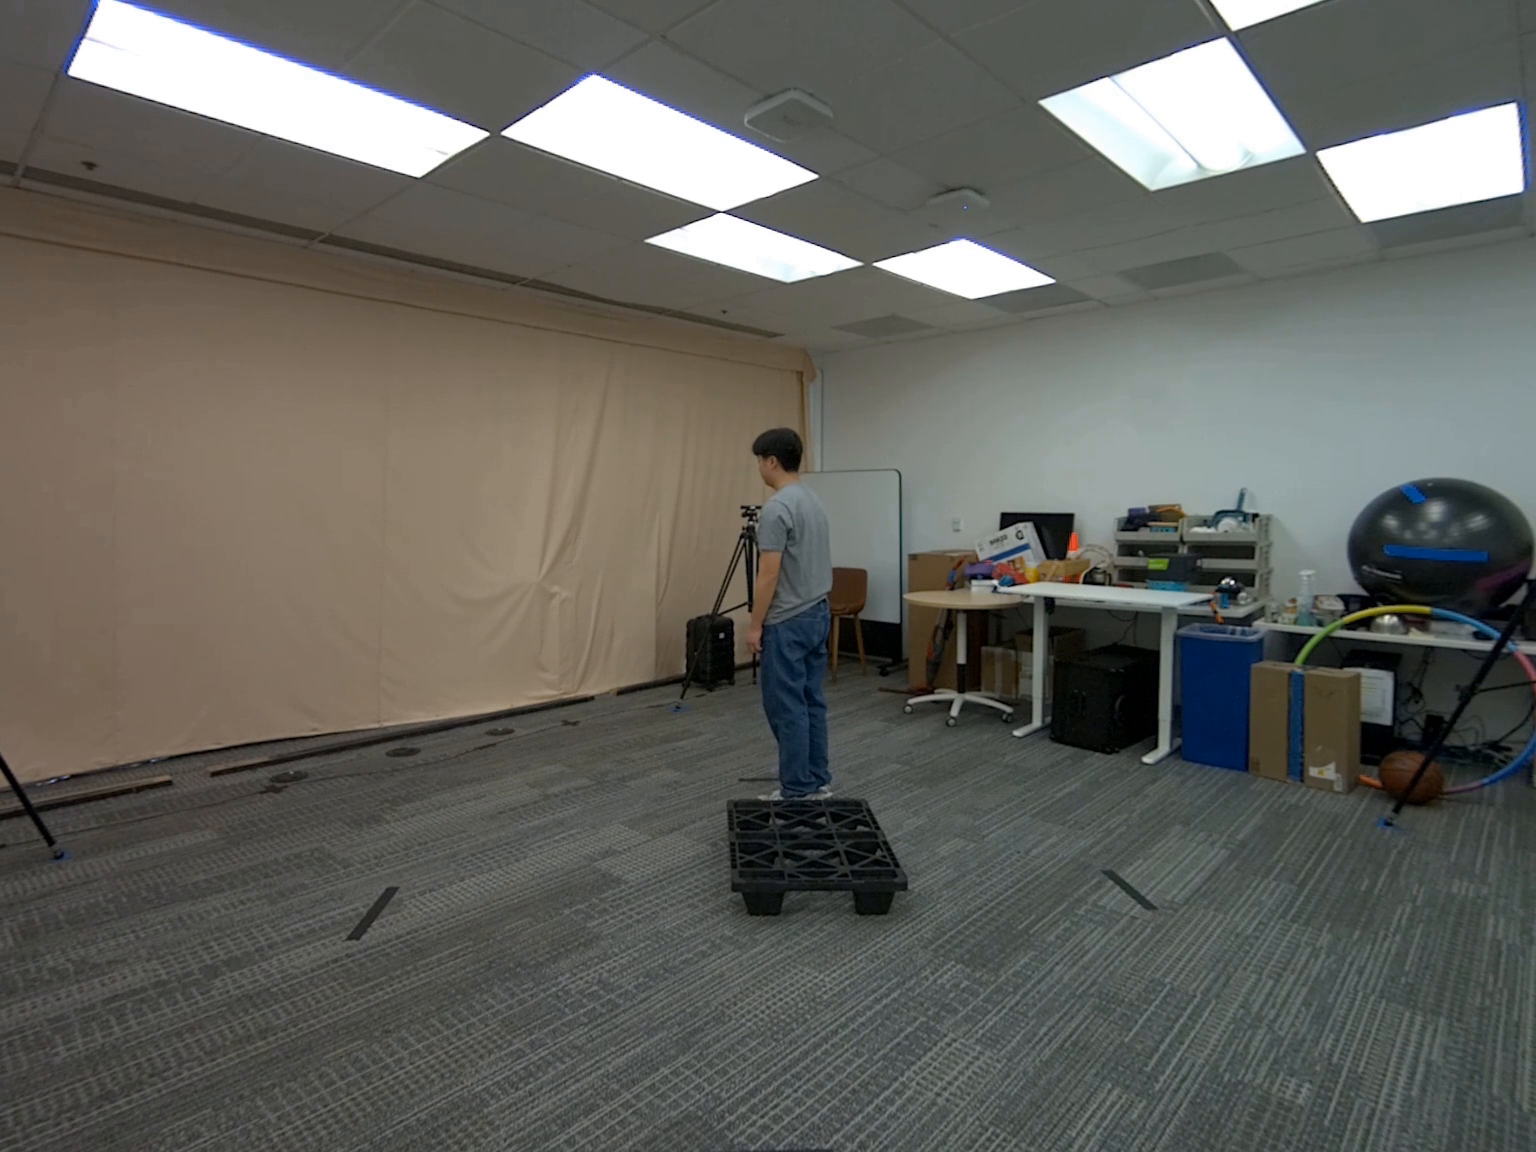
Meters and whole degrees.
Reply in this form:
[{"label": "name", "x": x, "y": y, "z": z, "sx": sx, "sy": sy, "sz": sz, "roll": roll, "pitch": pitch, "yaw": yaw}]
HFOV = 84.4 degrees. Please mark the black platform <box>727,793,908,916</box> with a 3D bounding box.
[{"label": "black platform", "x": 0.146, "y": 1.054, "z": 3.216, "sx": 0.604, "sy": 0.143, "sz": 0.809, "roll": -1, "pitch": 5, "yaw": -3}]
